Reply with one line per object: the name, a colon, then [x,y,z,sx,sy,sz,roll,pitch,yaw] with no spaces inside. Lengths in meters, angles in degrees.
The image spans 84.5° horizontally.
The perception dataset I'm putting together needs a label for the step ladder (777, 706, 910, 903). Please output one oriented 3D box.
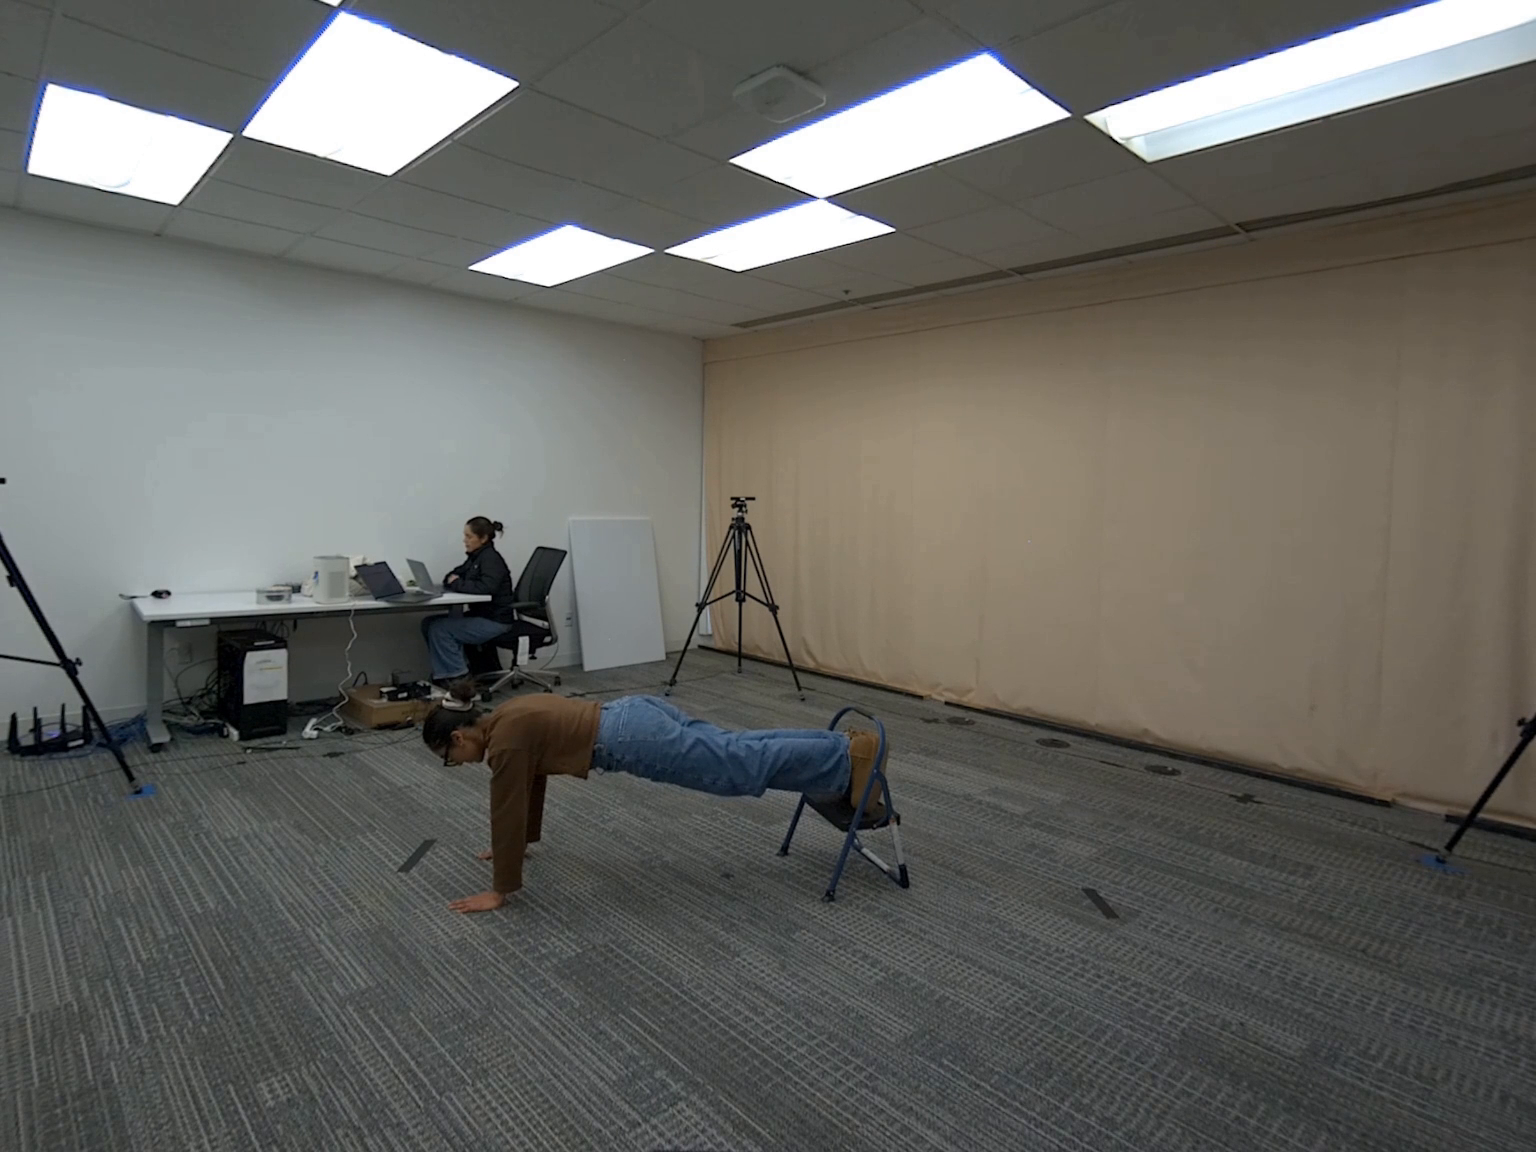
step ladder: [0.277,0.811,3.155,0.343,0.605,0.439,0,4,-23]
